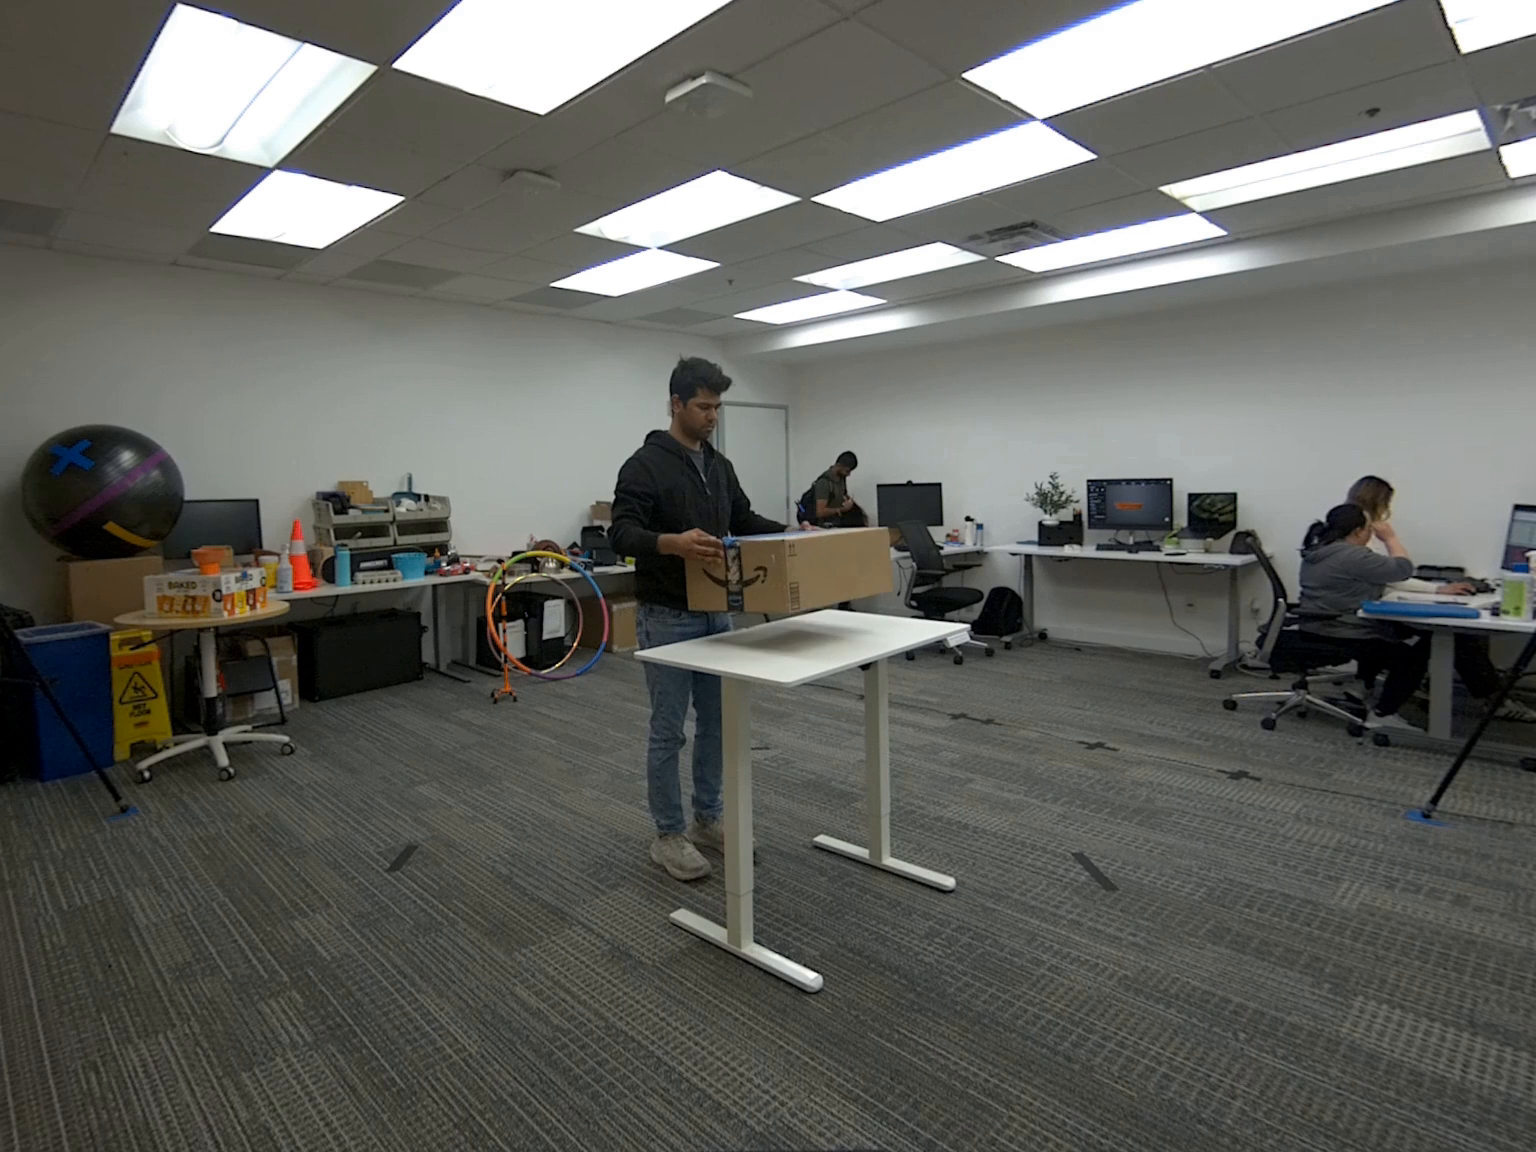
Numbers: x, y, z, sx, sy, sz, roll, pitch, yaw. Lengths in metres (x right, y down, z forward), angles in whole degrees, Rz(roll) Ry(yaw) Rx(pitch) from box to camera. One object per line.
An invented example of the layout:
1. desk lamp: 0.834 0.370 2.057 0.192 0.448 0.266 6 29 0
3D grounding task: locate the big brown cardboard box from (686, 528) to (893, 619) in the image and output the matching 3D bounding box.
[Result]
1. big brown cardboard box: 0.067 -0.027 2.790 0.429 0.233 0.574 0 5 41
